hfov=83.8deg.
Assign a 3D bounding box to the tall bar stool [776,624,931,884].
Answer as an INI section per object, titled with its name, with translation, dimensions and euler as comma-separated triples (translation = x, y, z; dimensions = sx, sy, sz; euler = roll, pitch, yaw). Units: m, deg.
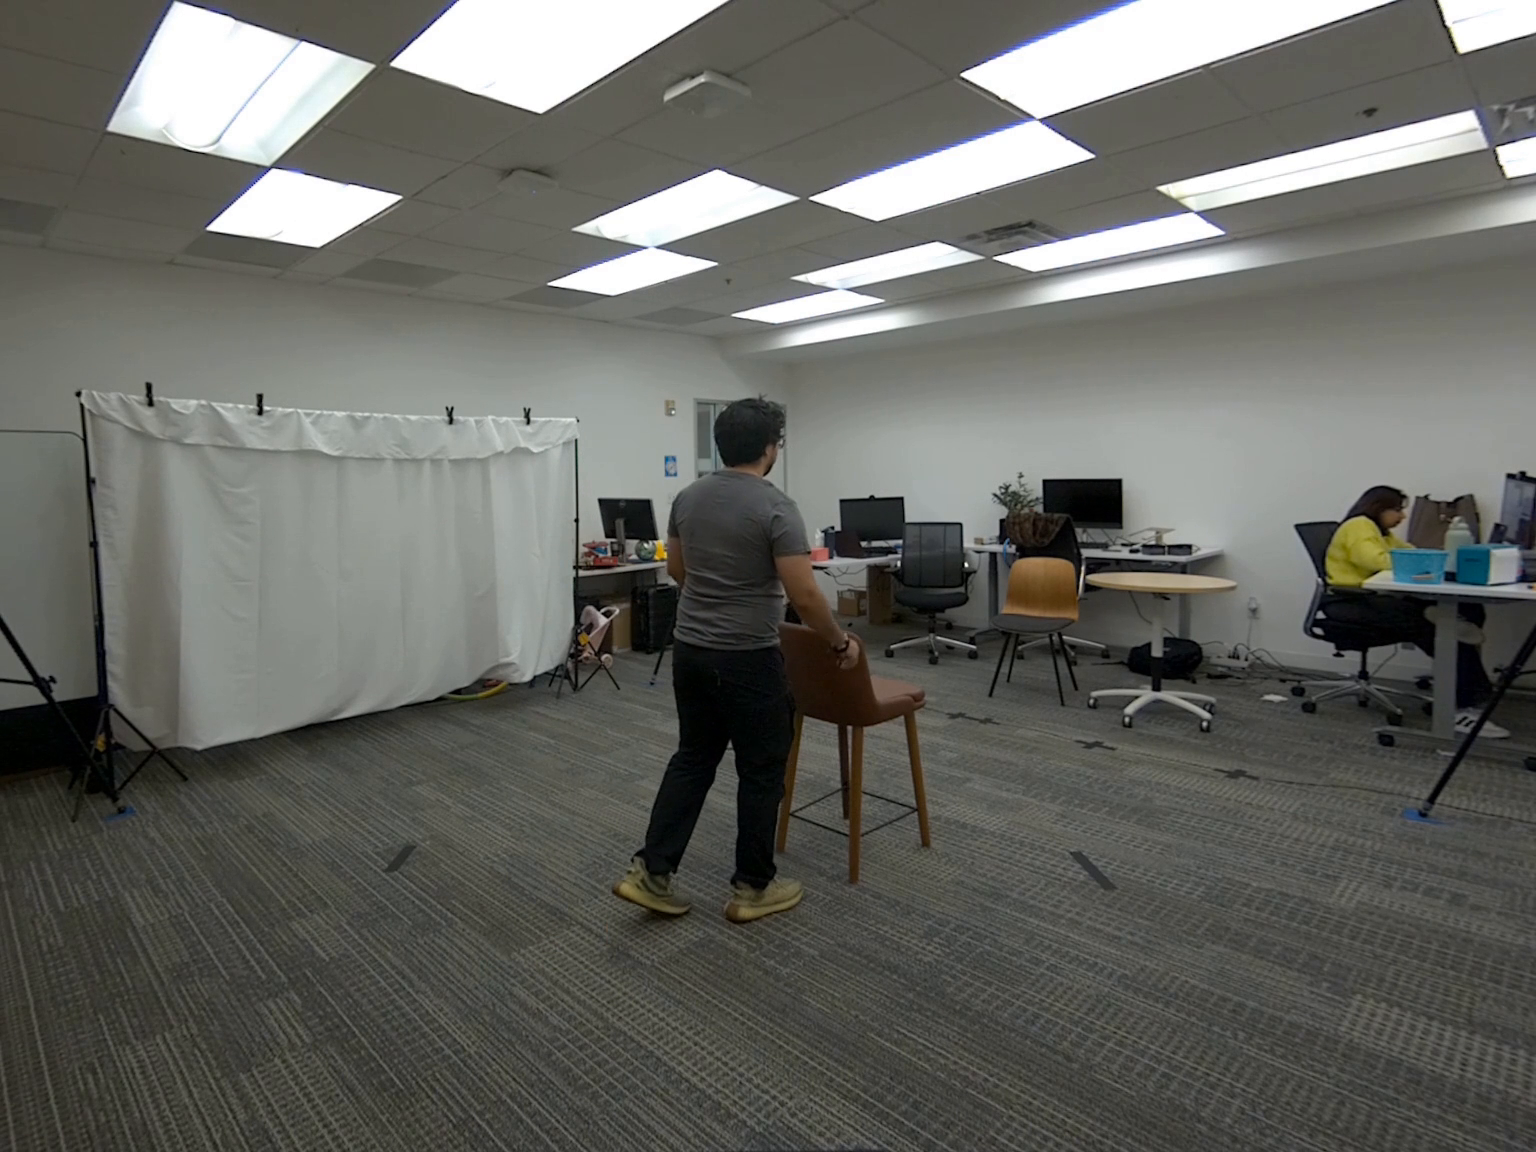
[tall bar stool]
translation = 0.303, 0.591, 3.185
dimensions = 0.456, 0.885, 0.470
euler = -8, 8, -44
